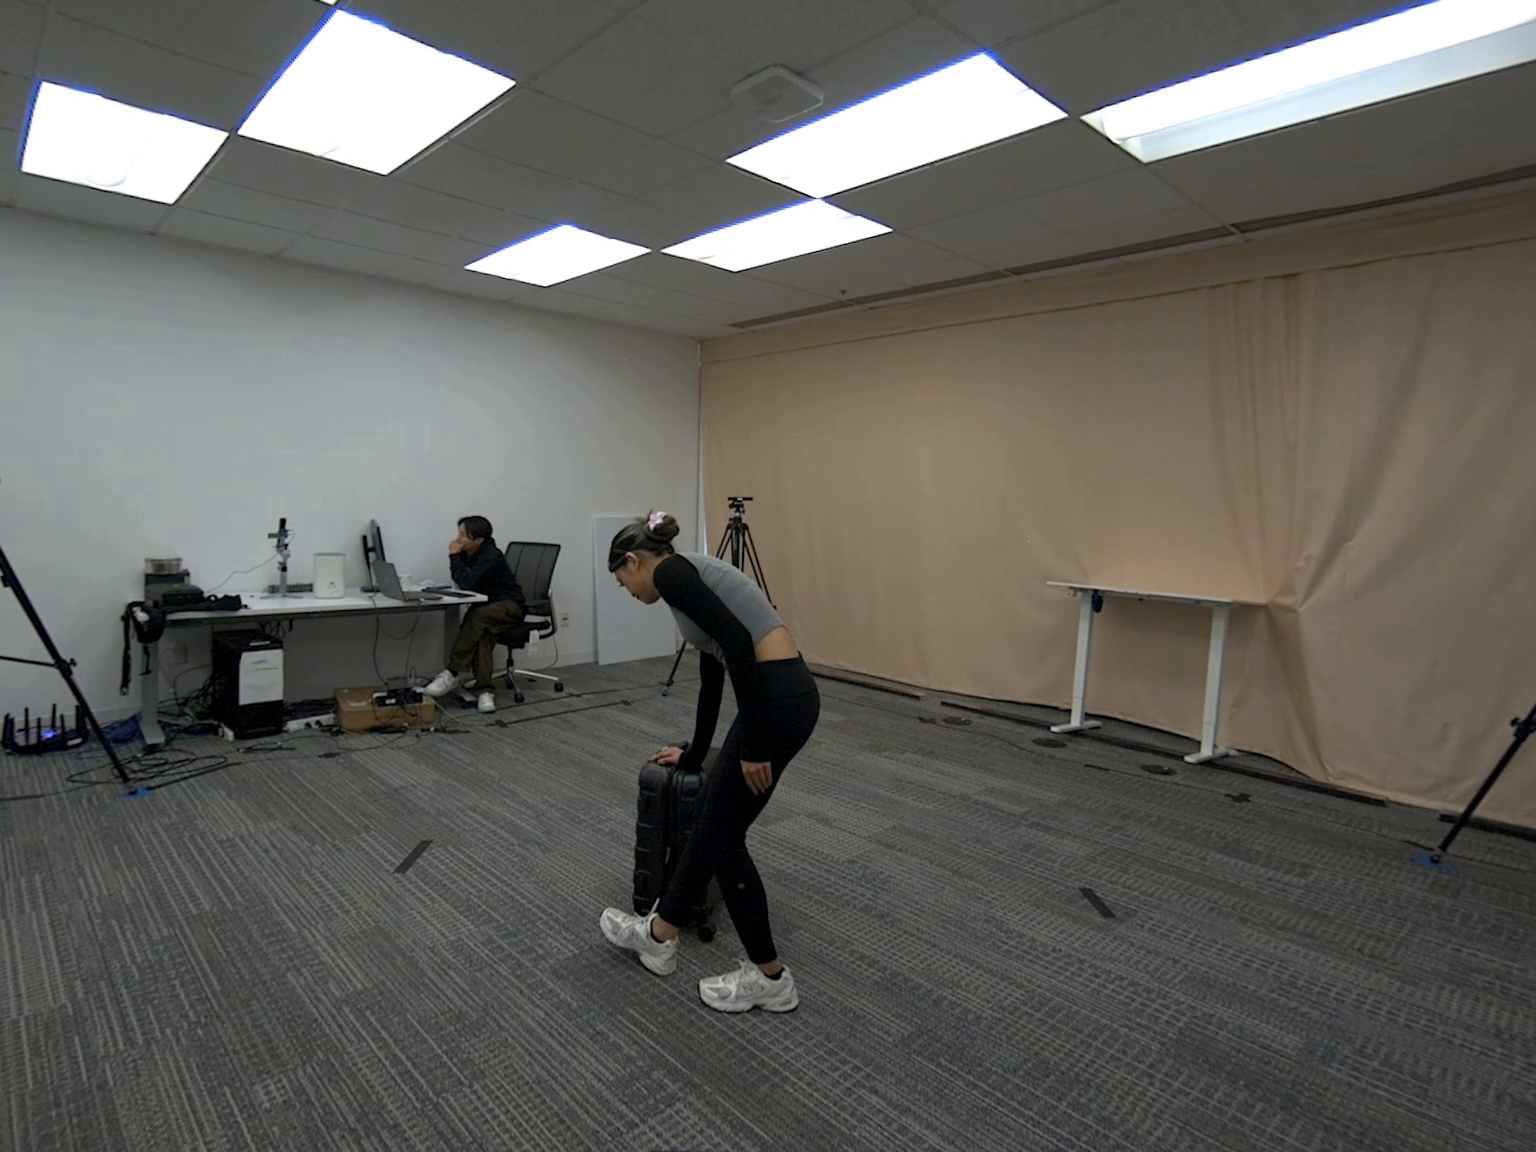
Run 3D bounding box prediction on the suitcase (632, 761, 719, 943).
[{"bbox_3d":[-0.282,0.857,2.816,0.251,0.548,0.372,2,3,12],"label":"suitcase"}]
